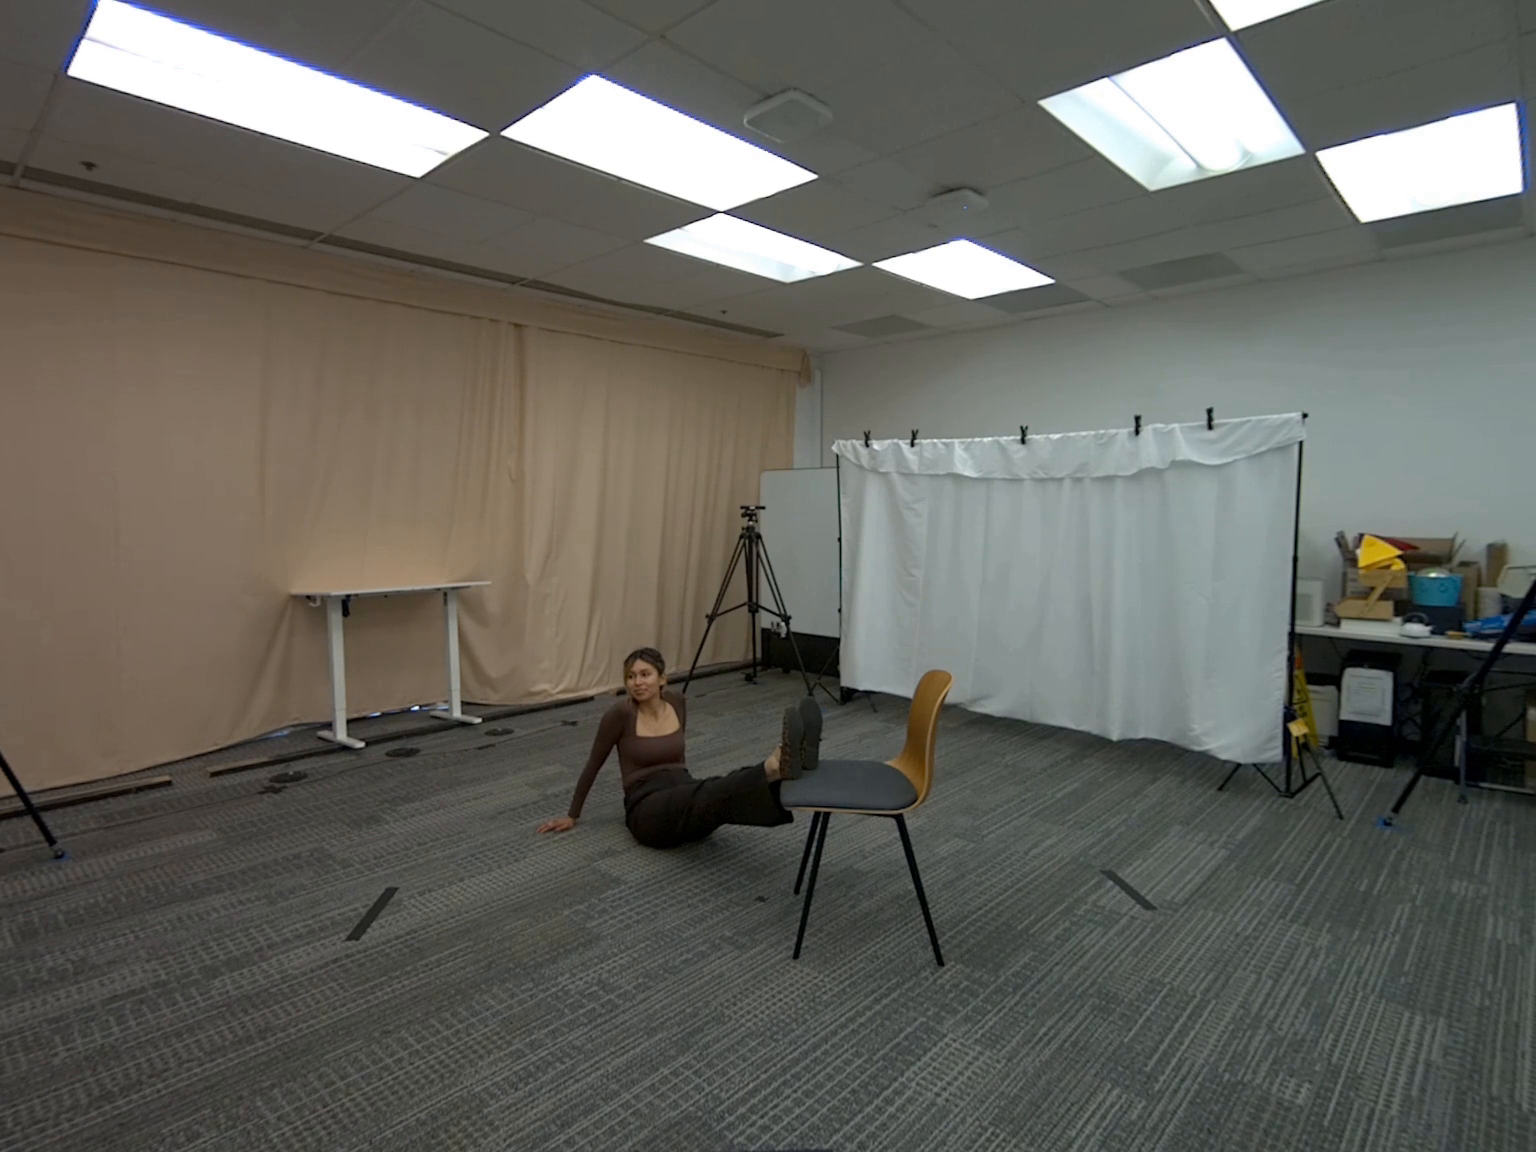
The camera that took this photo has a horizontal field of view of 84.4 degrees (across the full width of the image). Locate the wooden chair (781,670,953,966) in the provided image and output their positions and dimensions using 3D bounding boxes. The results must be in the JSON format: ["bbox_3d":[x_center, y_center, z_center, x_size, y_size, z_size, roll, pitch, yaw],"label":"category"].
[{"bbox_3d":[0.312,0.735,2.754,0.526,0.875,0.476,4,4,4],"label":"wooden chair"}]
